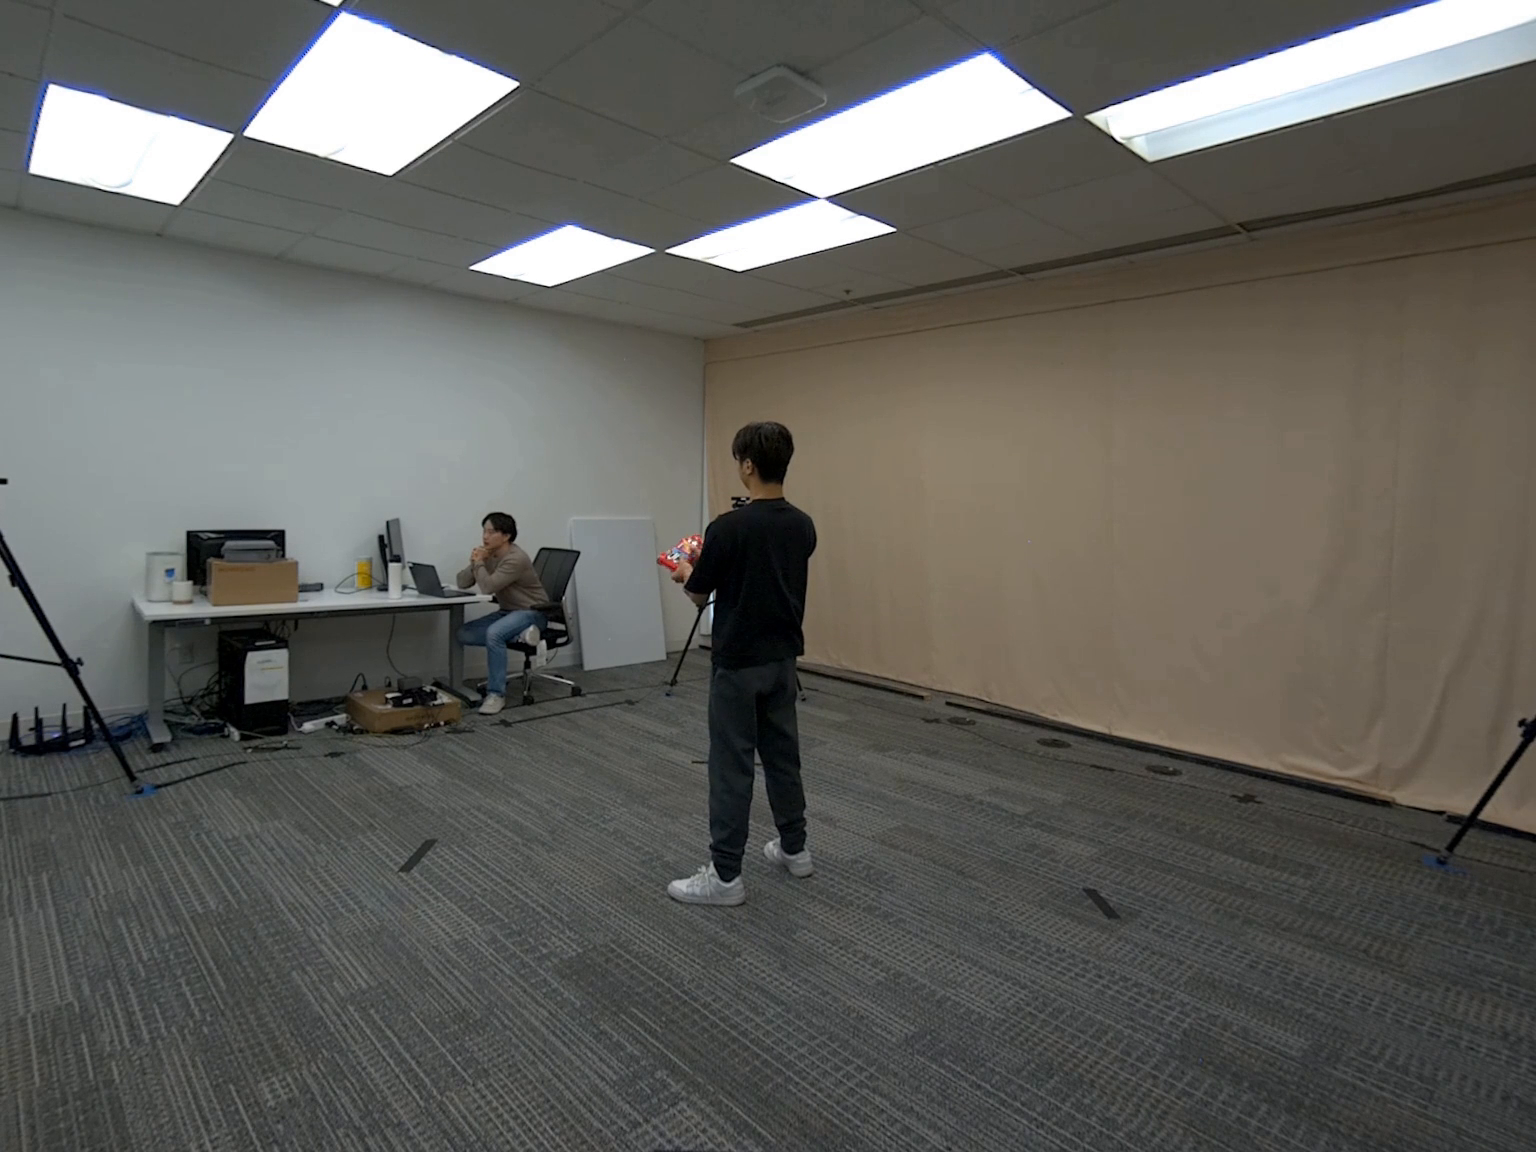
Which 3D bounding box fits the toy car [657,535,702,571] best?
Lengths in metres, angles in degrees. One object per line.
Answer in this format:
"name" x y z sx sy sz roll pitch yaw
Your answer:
"toy car" -0.336 -0.089 3.338 0.132 0.082 0.254 31 46 16
